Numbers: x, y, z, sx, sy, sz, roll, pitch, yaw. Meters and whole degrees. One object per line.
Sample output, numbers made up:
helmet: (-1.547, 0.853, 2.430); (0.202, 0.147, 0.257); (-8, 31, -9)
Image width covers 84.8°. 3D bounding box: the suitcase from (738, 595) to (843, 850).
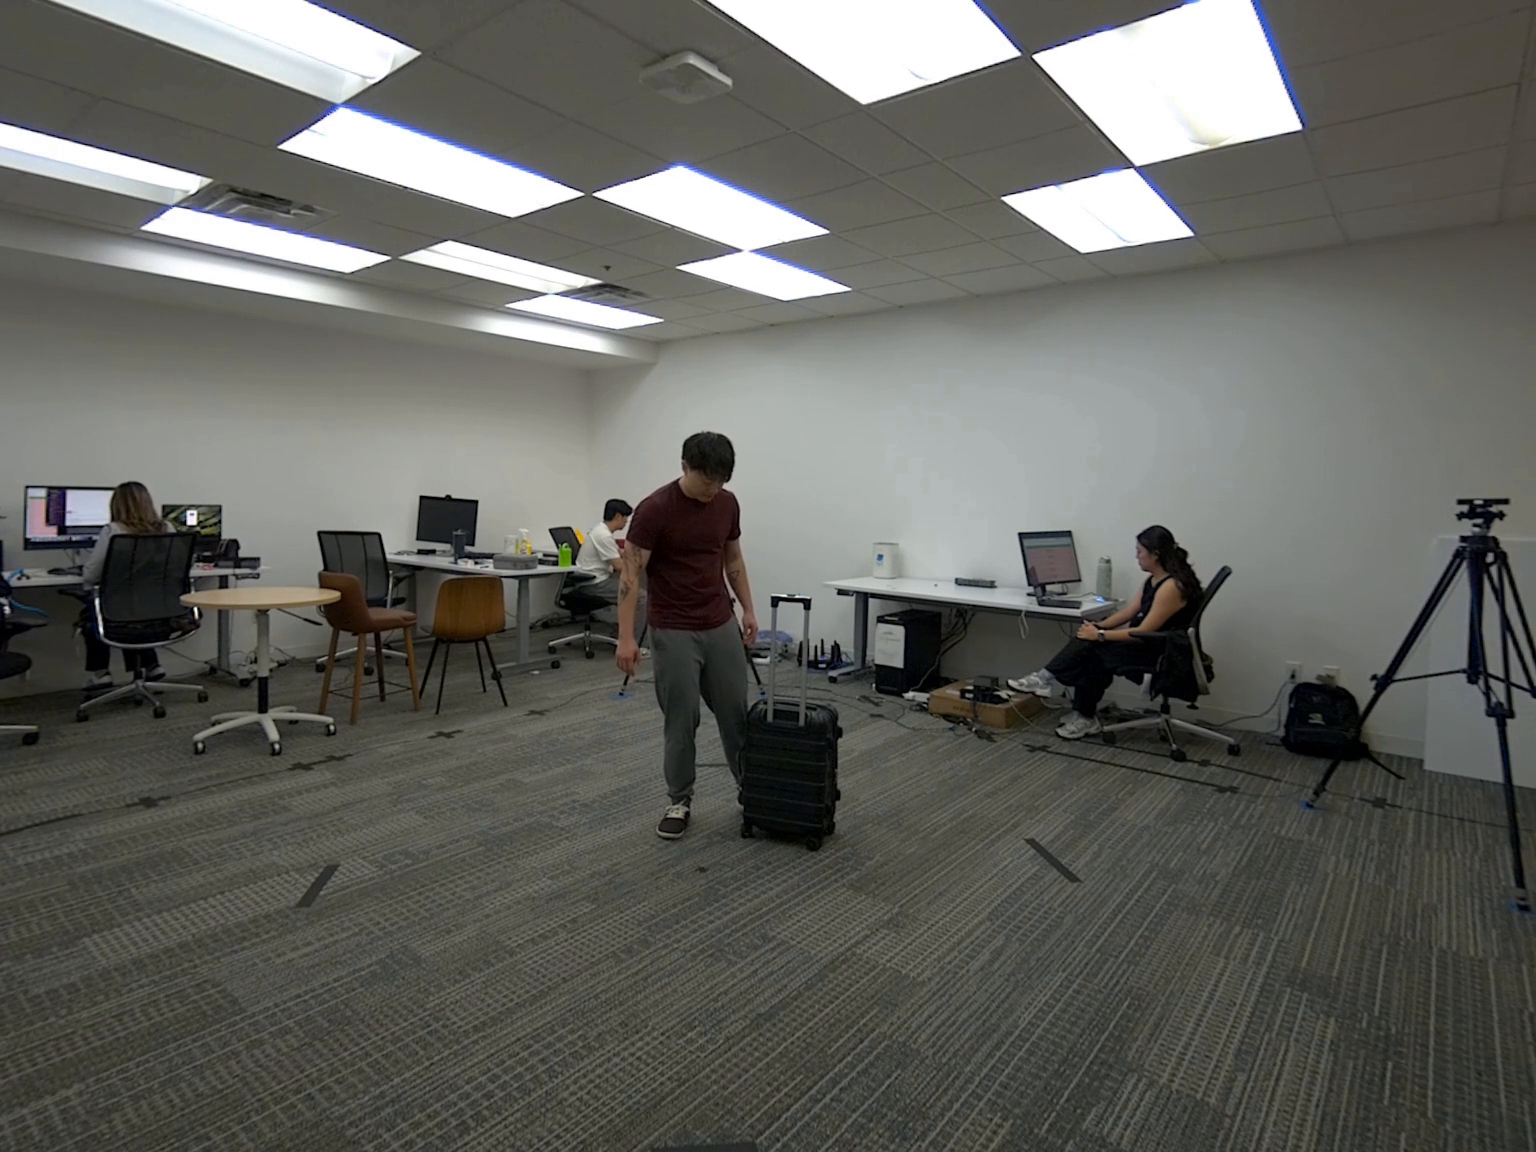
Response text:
suitcase: (0.093, 0.567, 3.418); (0.391, 0.978, 0.252); (2, 1, 17)
